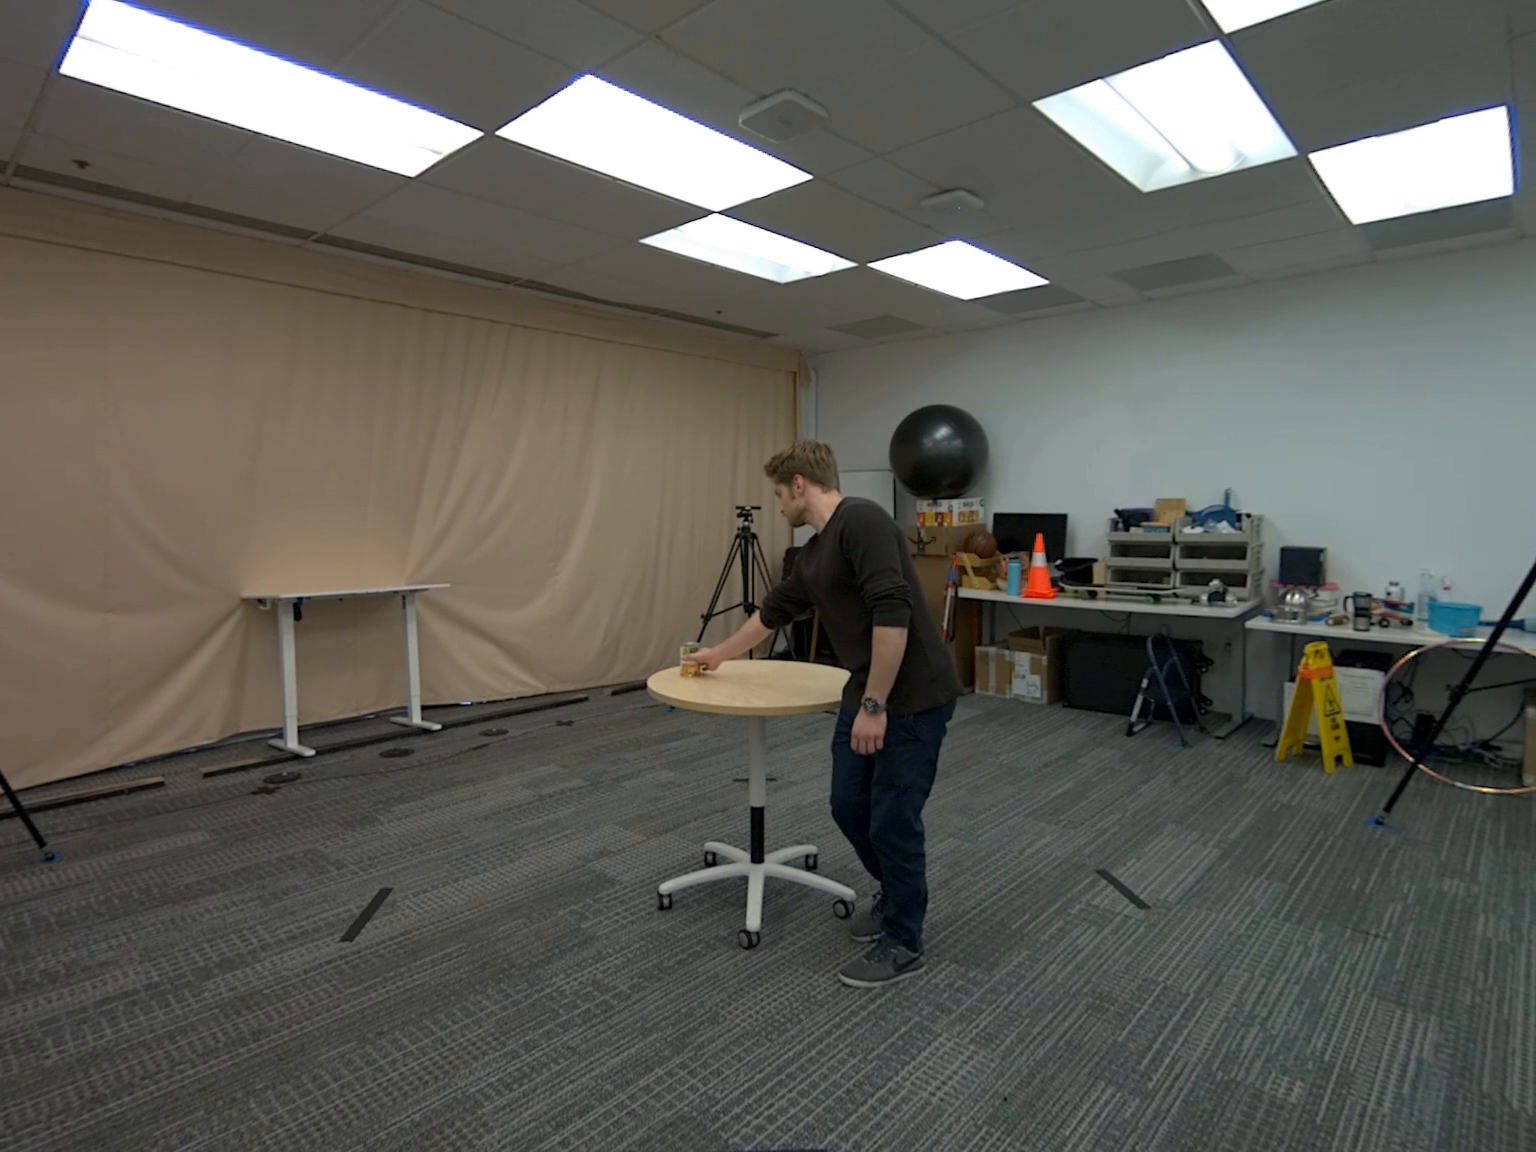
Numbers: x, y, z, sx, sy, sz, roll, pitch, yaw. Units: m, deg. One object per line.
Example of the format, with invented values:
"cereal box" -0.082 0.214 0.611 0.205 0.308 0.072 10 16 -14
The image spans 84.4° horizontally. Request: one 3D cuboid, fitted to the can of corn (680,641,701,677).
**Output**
"can of corn" -0.274 0.303 3.021 0.074 0.111 0.074 0 -1 -2
